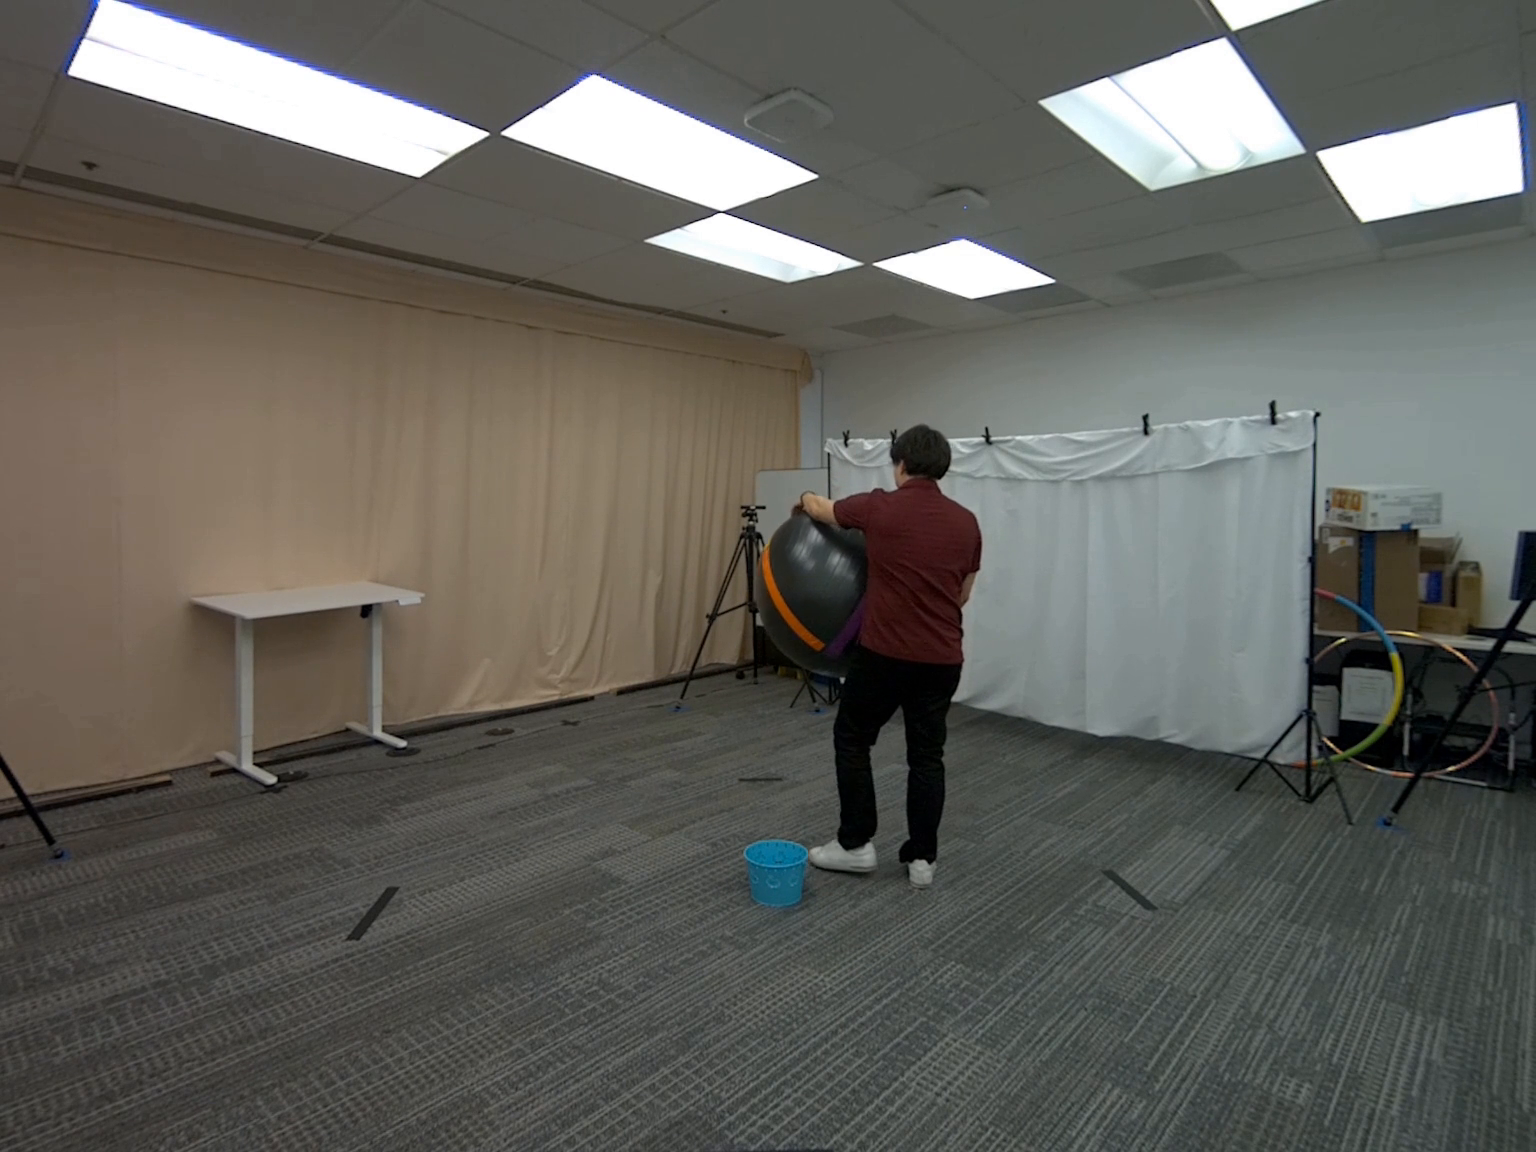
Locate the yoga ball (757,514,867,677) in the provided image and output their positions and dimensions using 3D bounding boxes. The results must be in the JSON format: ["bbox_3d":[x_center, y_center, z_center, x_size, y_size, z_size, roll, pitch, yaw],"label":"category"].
[{"bbox_3d":[0.335,0.054,3.640,0.757,0.756,0.761,0,4,-2],"label":"yoga ball"}]
